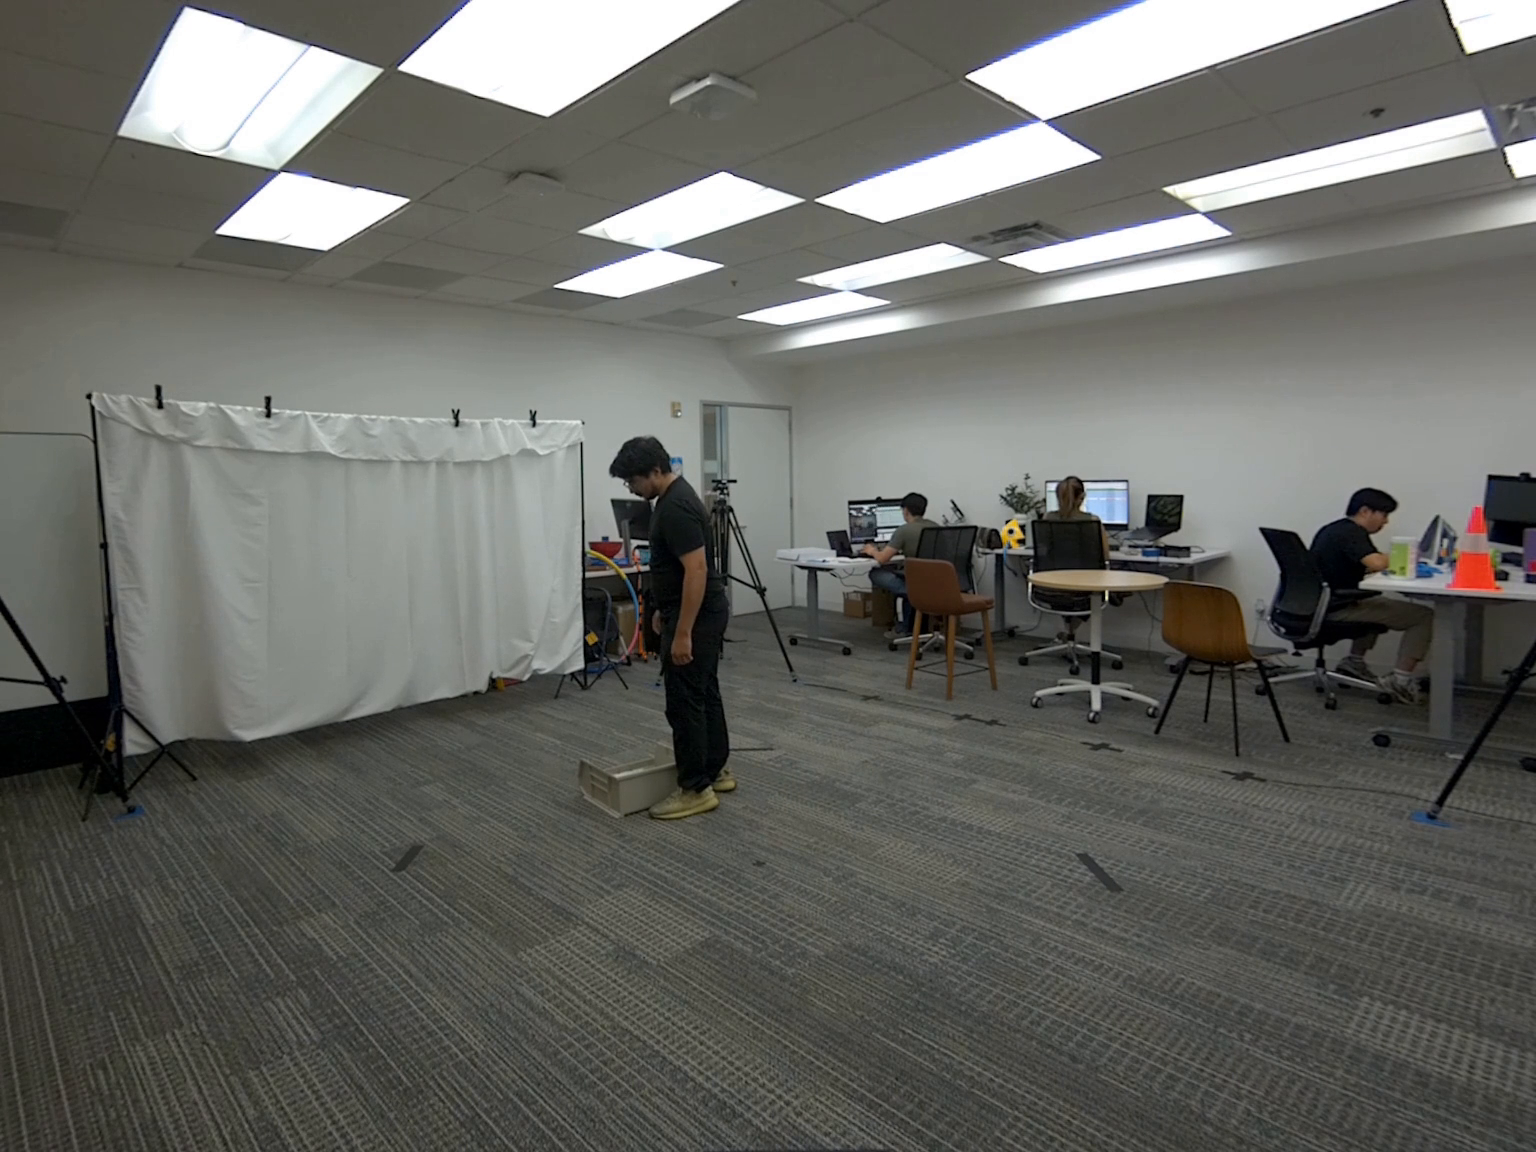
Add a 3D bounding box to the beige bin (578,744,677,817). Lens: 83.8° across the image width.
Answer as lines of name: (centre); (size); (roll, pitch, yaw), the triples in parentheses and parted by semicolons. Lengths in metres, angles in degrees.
beige bin: (-0.579, 0.891, 3.812); (0.411, 0.188, 0.389); (-5, 8, -38)
